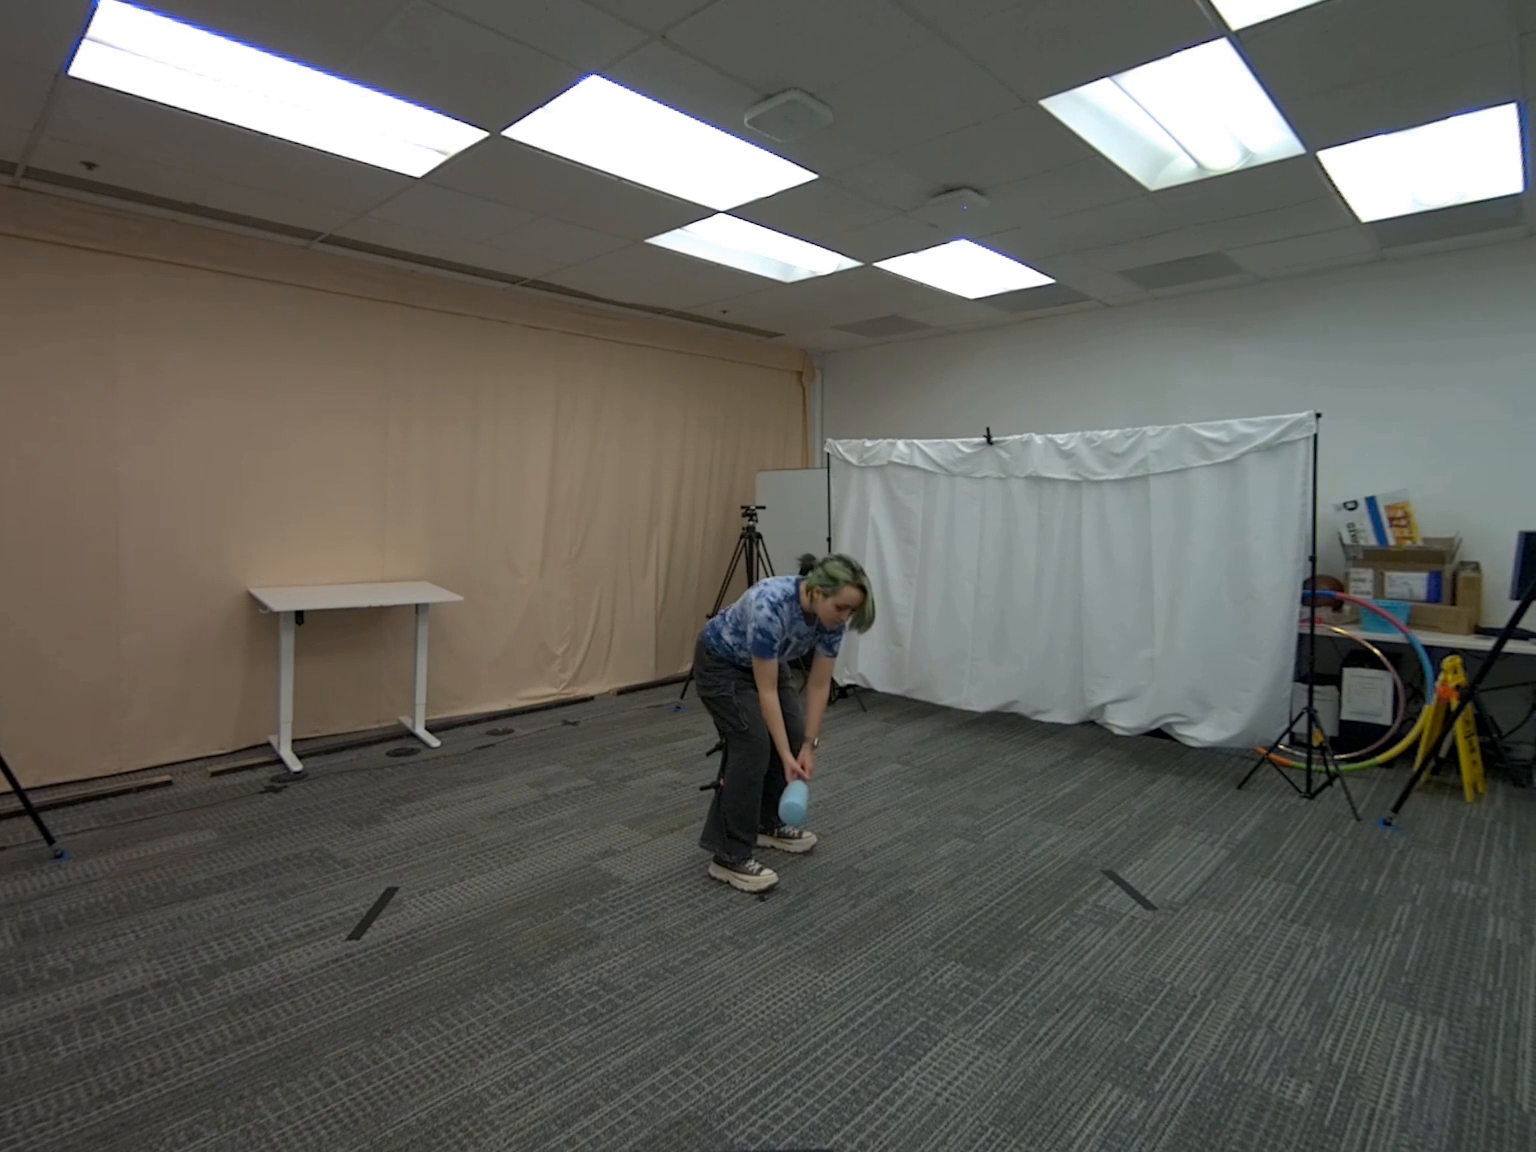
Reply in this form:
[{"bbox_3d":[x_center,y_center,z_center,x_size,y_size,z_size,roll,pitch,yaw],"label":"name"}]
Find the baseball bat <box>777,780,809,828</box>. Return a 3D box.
[{"bbox_3d":[0.107,0.714,2.859,0.090,0.089,0.538,1,2,6],"label":"baseball bat"}]
